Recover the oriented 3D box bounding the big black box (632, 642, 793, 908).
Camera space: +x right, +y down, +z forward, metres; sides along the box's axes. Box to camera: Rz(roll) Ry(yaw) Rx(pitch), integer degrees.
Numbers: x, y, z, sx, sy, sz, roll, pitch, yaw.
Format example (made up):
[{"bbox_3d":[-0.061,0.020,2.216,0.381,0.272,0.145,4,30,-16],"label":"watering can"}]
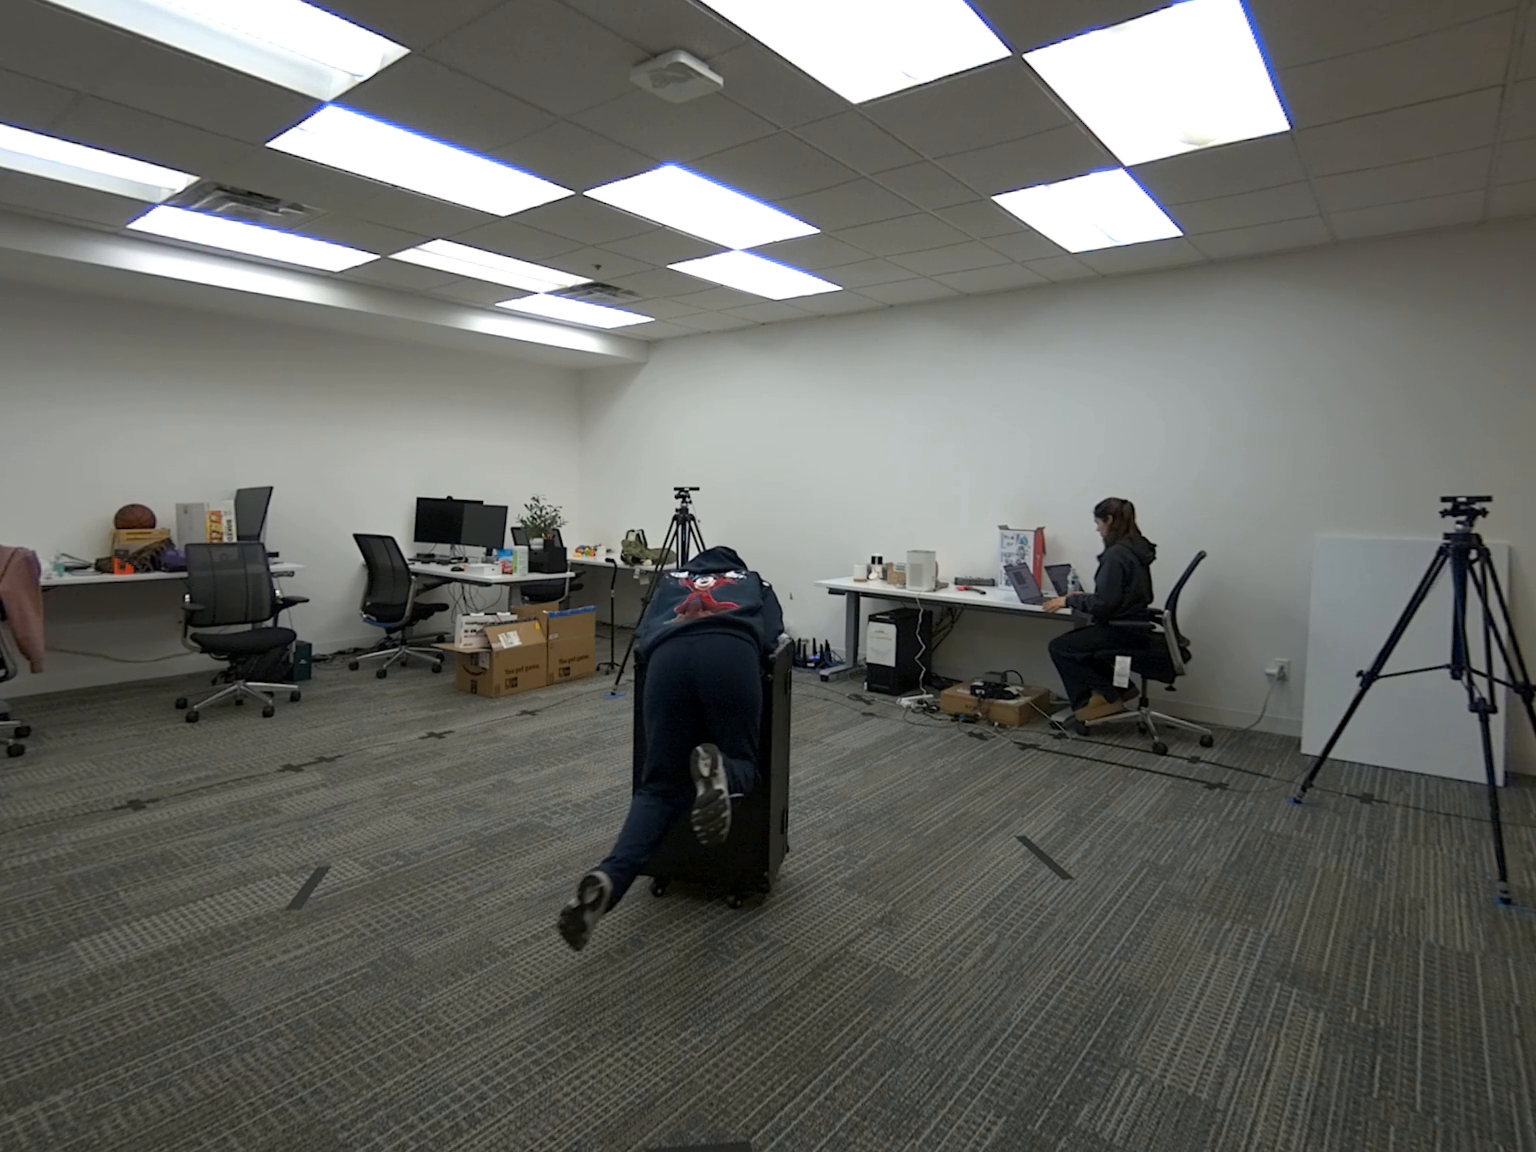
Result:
[{"bbox_3d":[-0.194,0.658,2.967,0.529,0.859,0.391,3,3,13],"label":"big black box"}]
